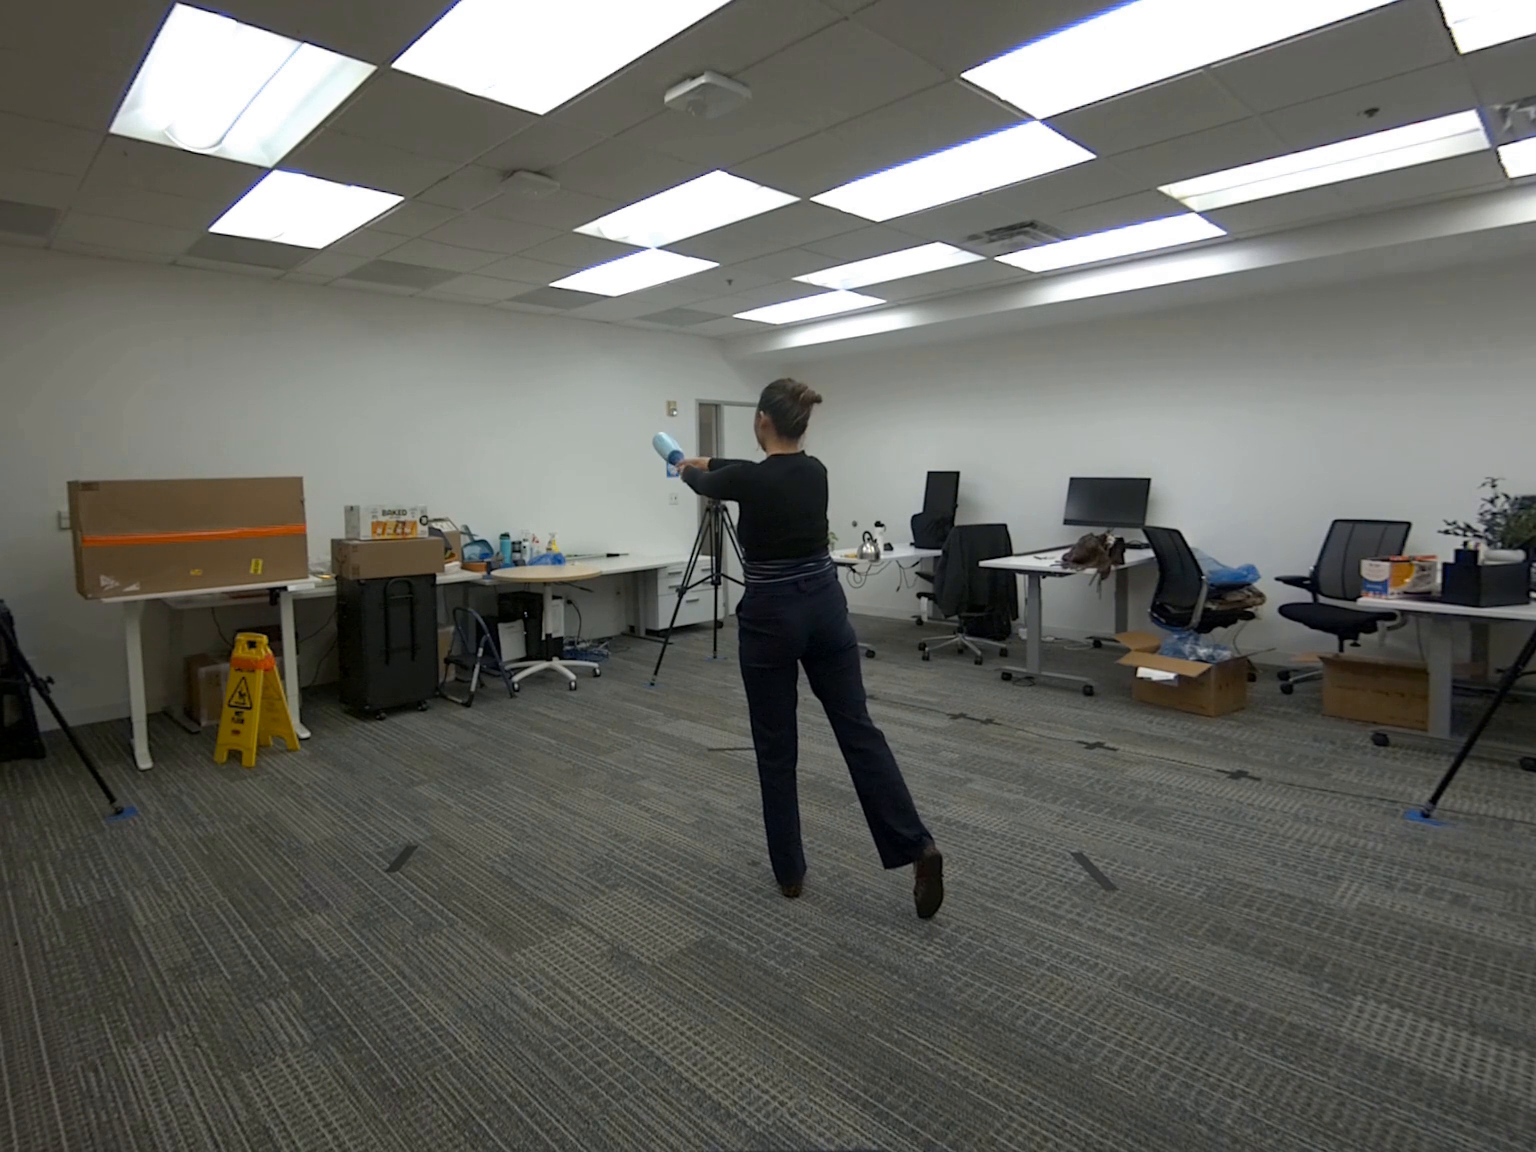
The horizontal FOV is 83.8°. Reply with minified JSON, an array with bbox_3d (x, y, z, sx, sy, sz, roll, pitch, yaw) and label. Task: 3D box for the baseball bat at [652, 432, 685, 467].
[{"bbox_3d":[-0.361,-0.474,3.498,0.087,0.087,0.561,-3,25,-19],"label":"baseball bat"}]
